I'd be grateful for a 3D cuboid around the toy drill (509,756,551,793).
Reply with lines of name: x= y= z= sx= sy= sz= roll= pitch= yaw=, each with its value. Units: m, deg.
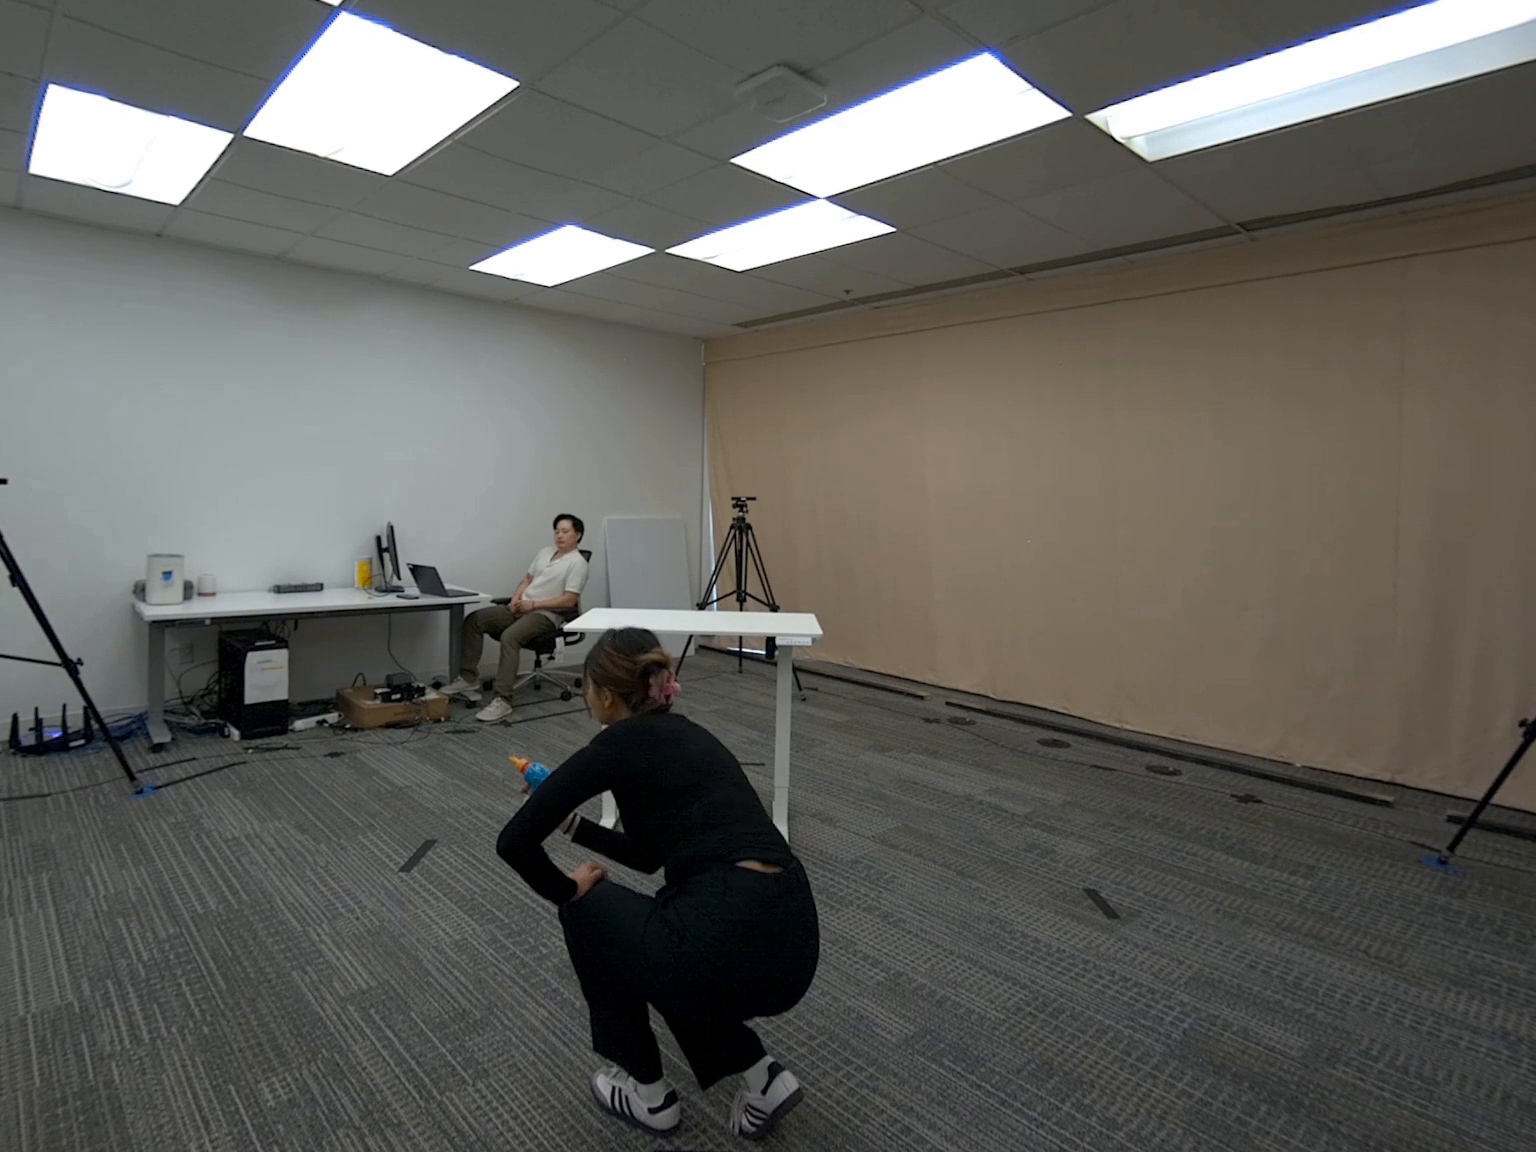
toy drill: x=-0.644 y=0.556 z=2.209 sx=0.173 sy=0.146 sz=0.060 roll=27 pitch=2 yaw=20
